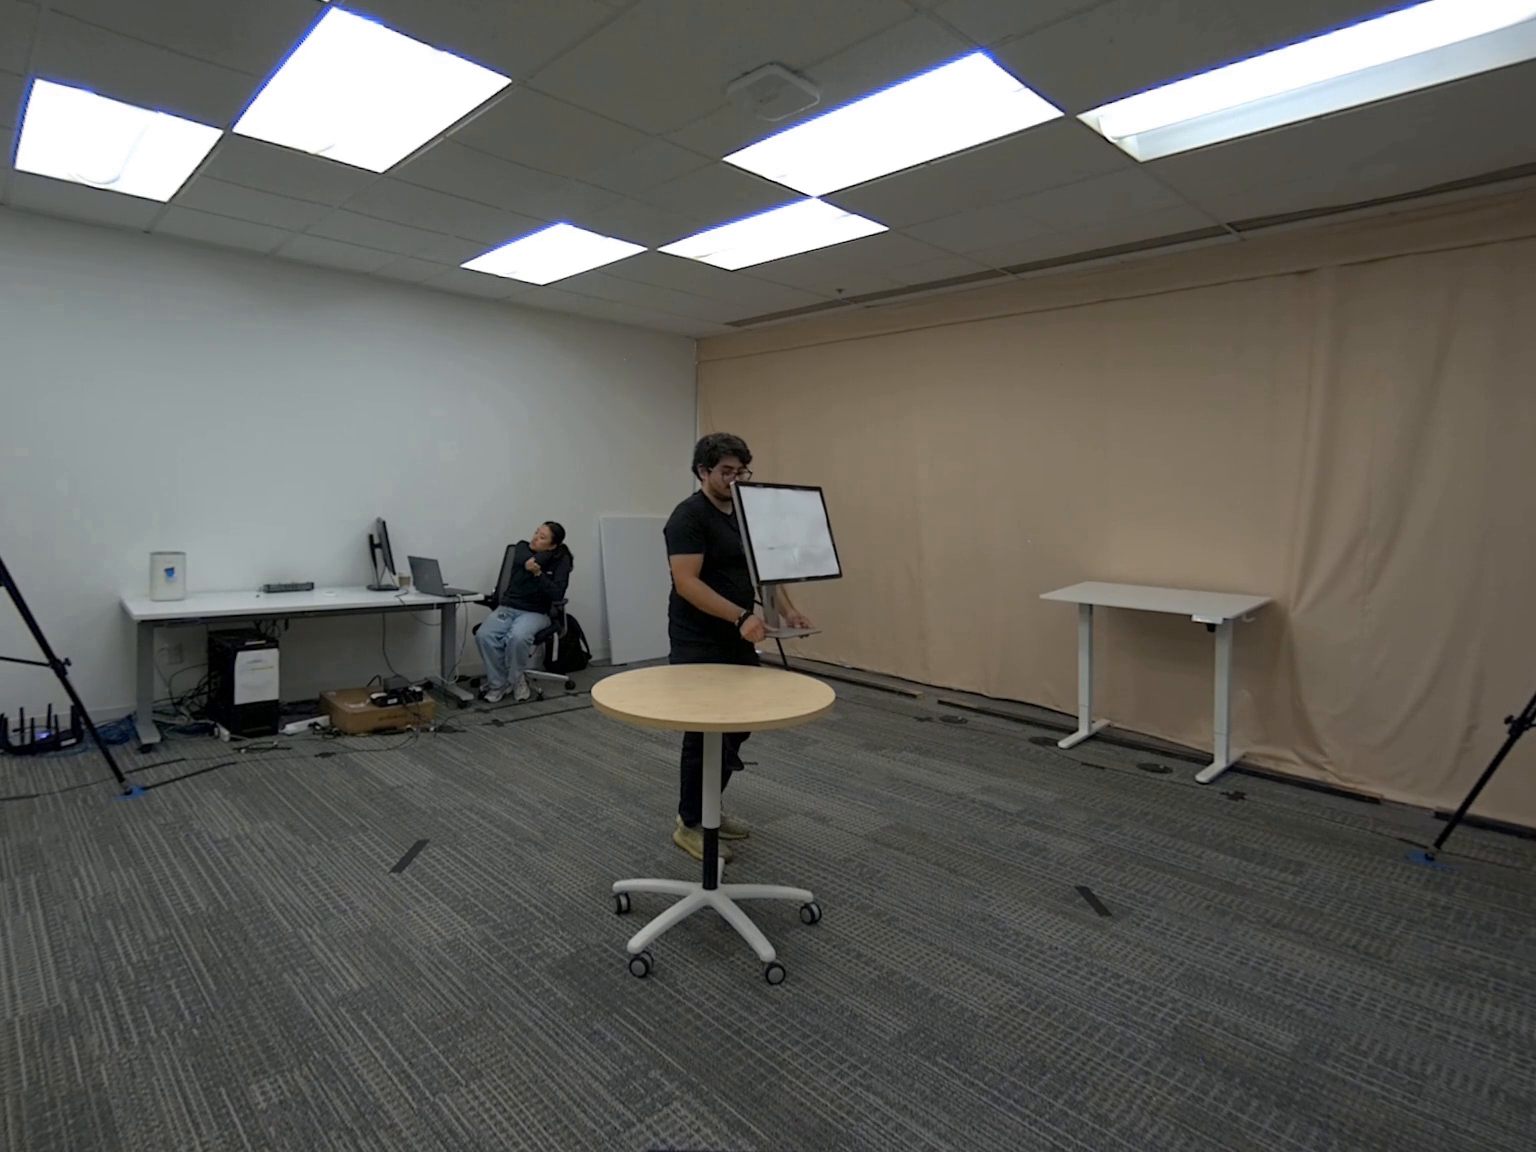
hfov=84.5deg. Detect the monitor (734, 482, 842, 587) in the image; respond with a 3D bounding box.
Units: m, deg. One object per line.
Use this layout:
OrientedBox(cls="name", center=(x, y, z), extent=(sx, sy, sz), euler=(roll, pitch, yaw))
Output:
OrientedBox(cls="monitor", center=(0.023, -0.057, 3.063), extent=(0.214, 0.556, 0.553), euler=(-10, -4, 35))
